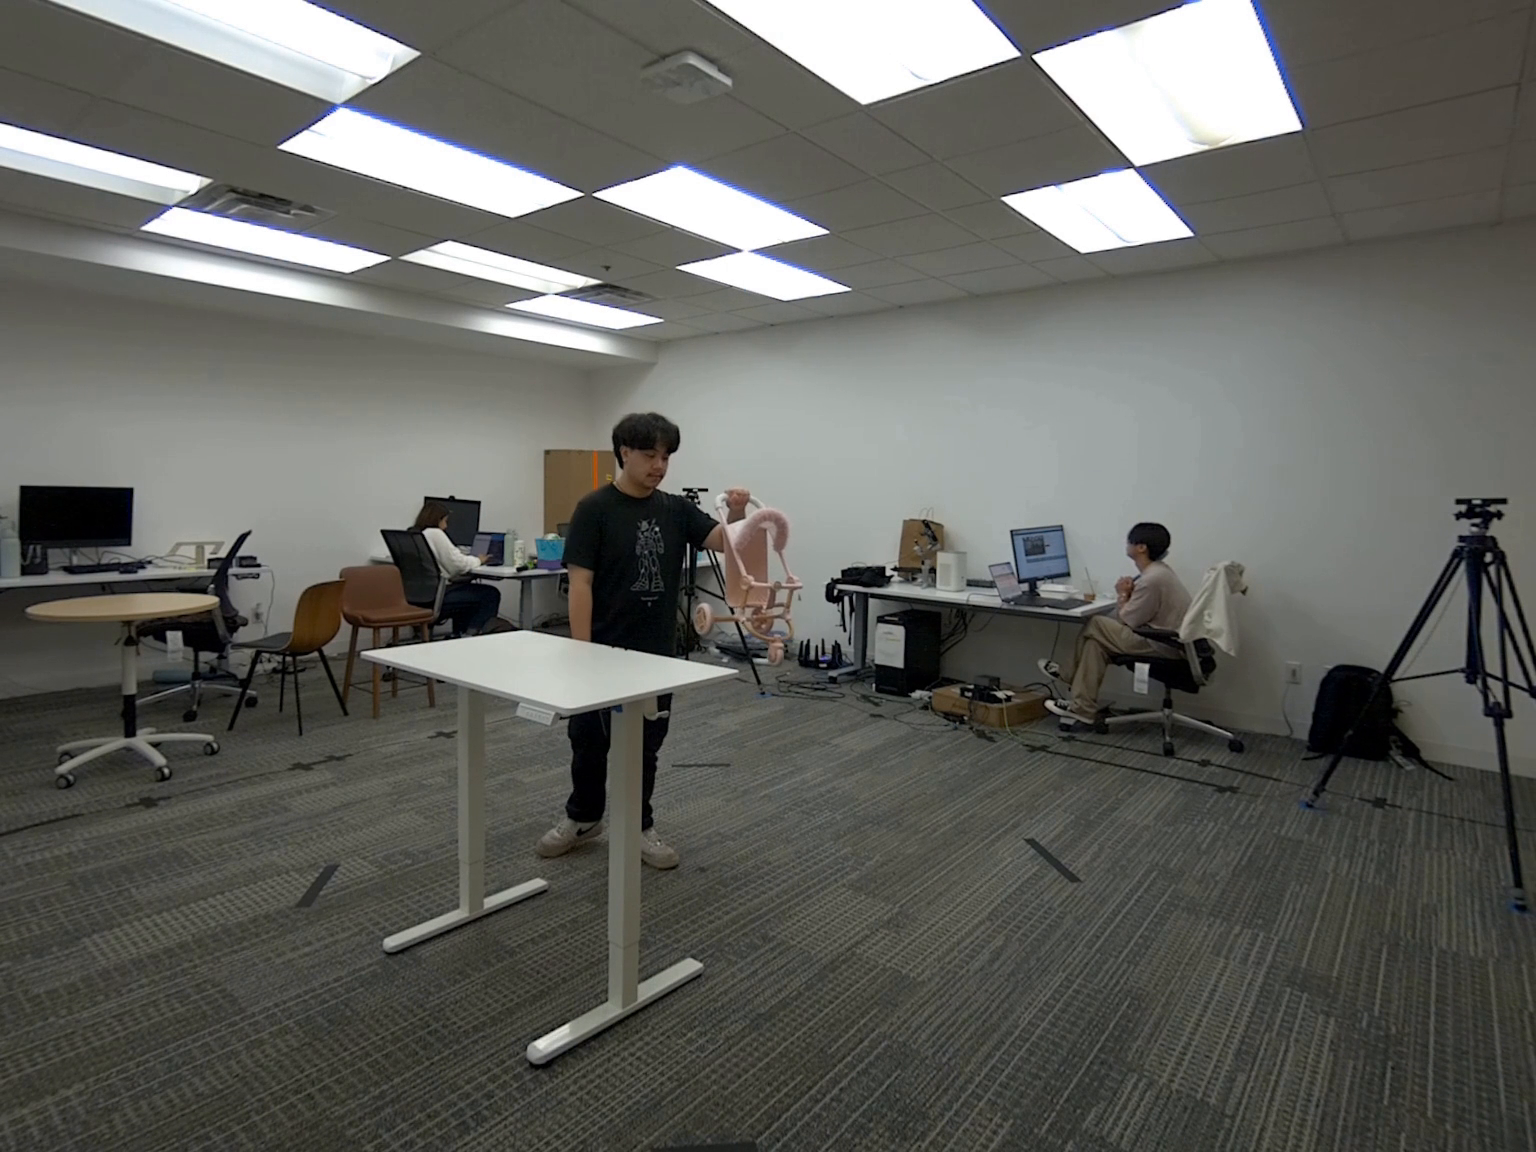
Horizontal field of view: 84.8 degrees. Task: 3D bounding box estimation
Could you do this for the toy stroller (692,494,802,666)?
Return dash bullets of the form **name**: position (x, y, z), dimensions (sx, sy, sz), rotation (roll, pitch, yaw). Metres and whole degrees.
- **toy stroller**: position (-0.047, 0.002, 2.817), dimensions (0.273, 0.534, 0.353), rotation (4, 4, -33)
